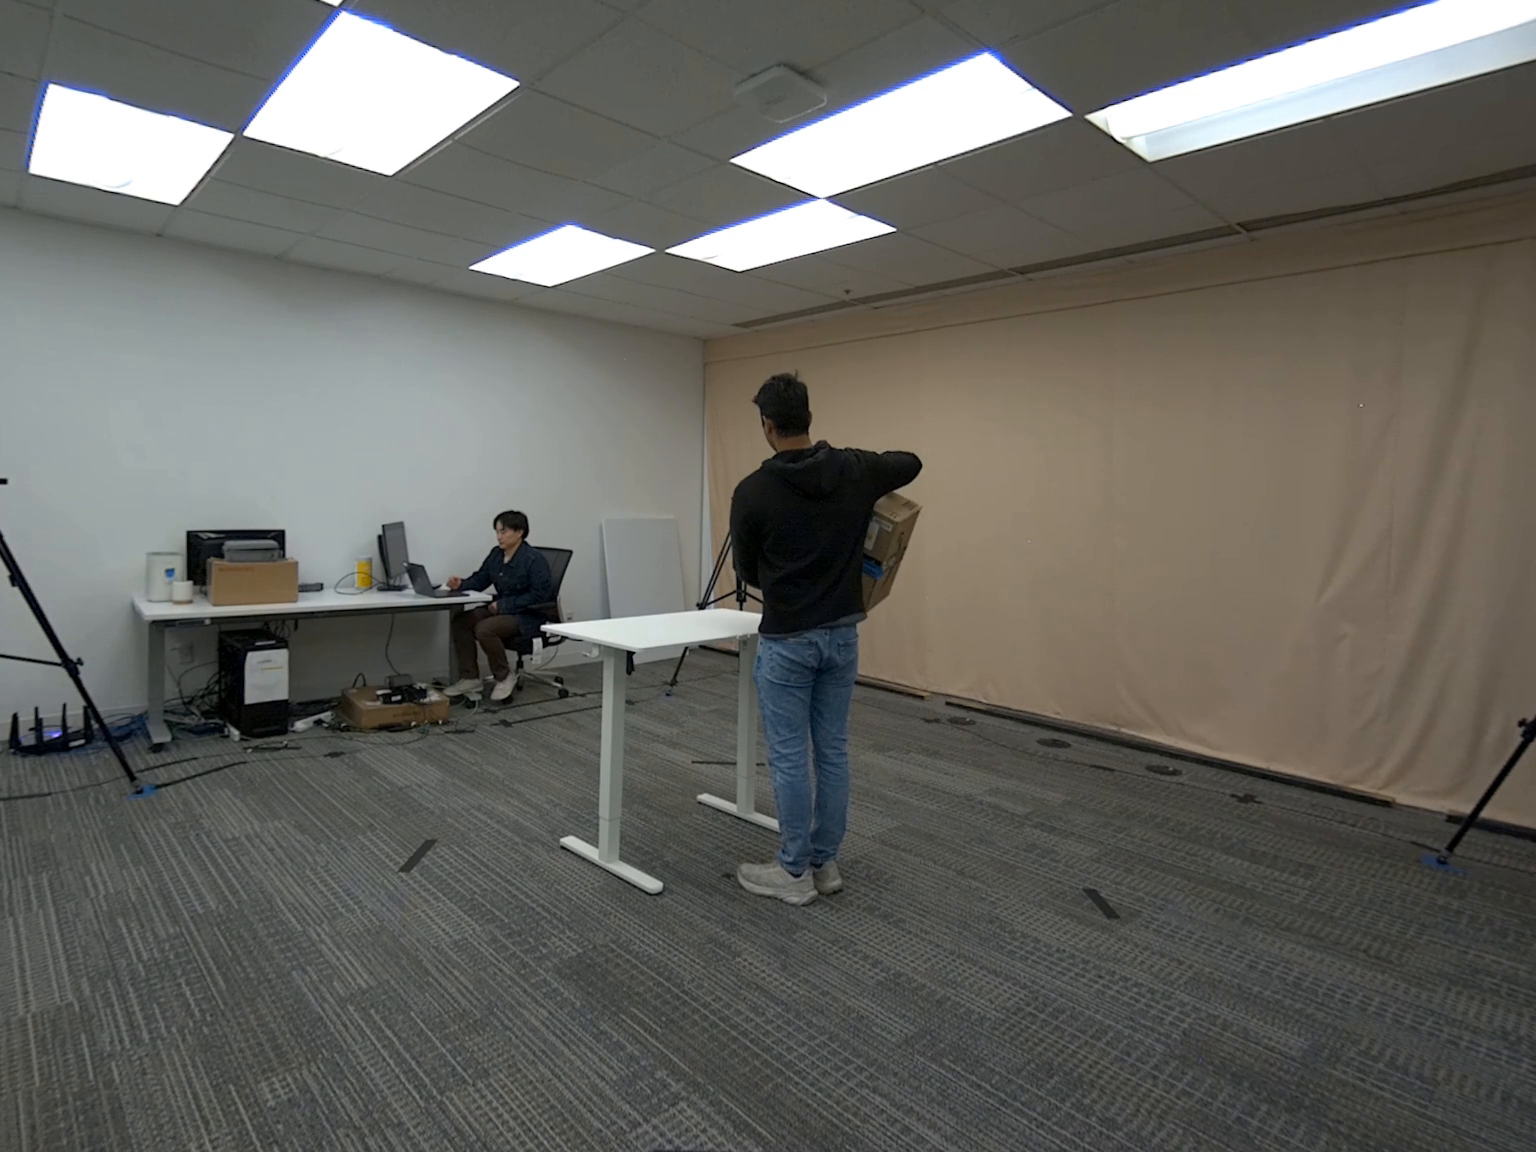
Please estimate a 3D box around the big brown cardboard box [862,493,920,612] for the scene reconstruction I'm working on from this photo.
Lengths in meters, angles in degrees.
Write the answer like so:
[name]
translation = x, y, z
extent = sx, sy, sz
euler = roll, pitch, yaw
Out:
[big brown cardboard box]
translation = 0.239, -0.179, 3.270
extent = 0.604, 0.412, 0.230
euler = 31, 35, 25
